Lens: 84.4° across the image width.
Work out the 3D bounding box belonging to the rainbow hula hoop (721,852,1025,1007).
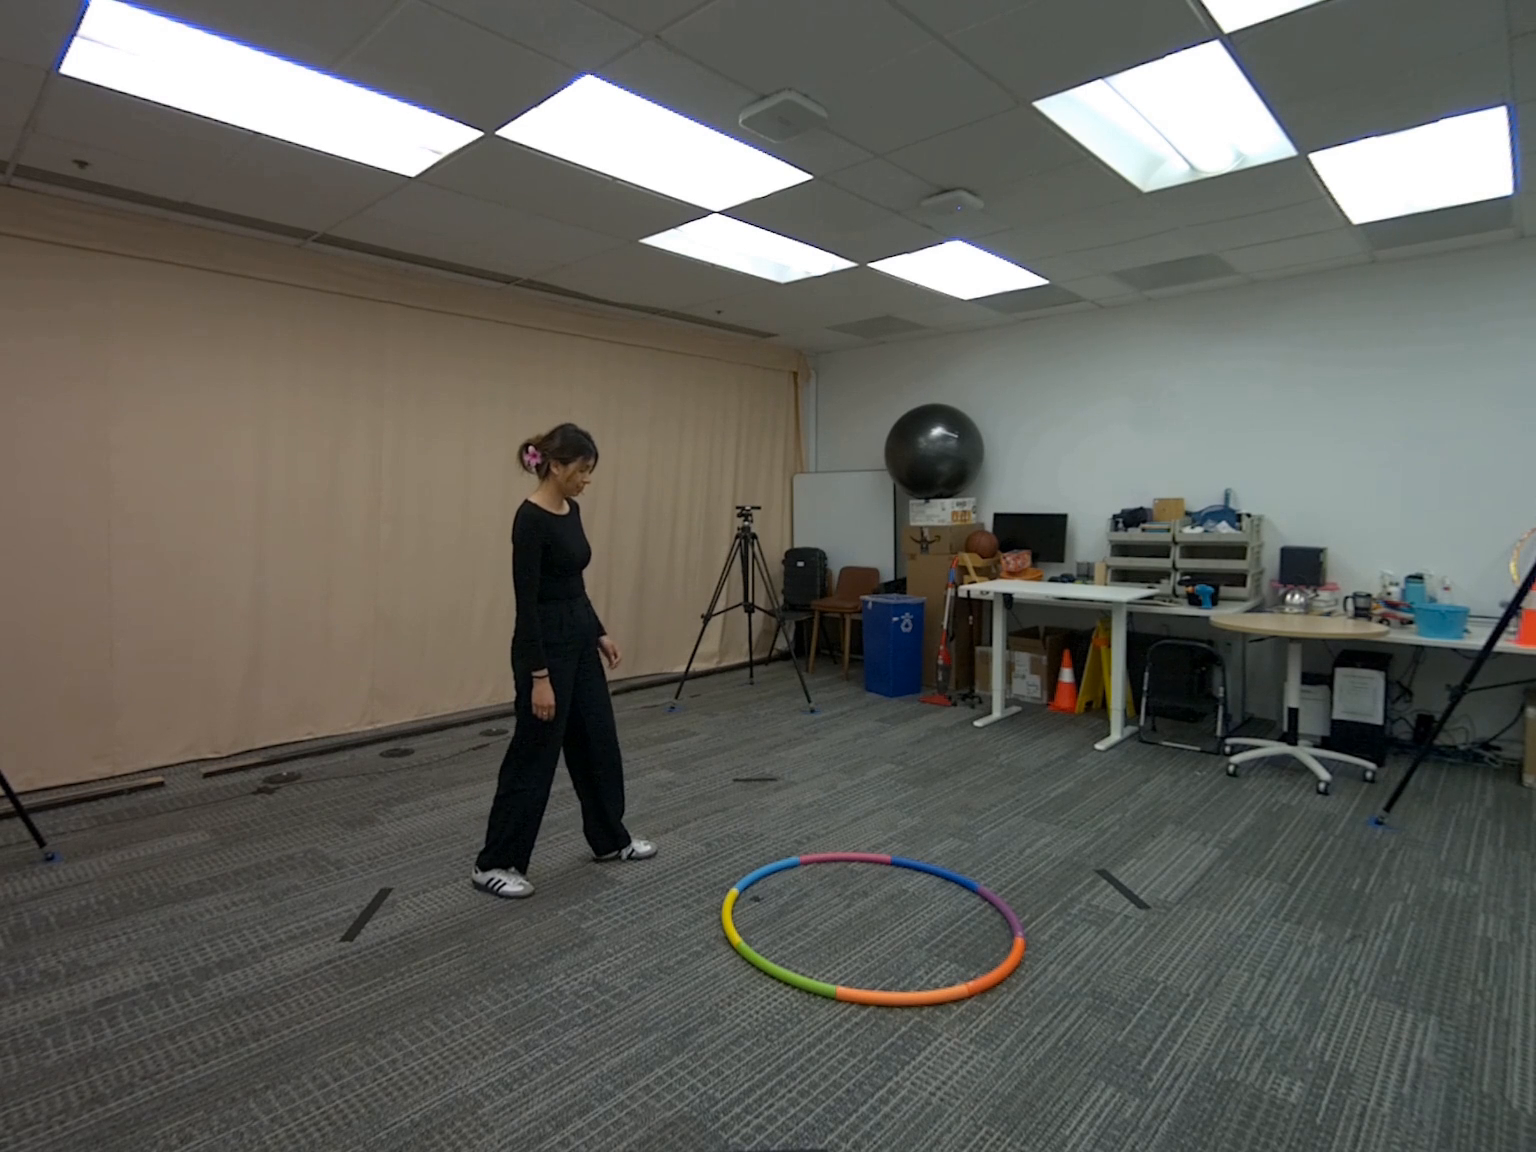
[{"bbox_3d":[0.335,1.124,2.826,0.978,0.035,0.982,0,5,-2],"label":"rainbow hula hoop"}]
